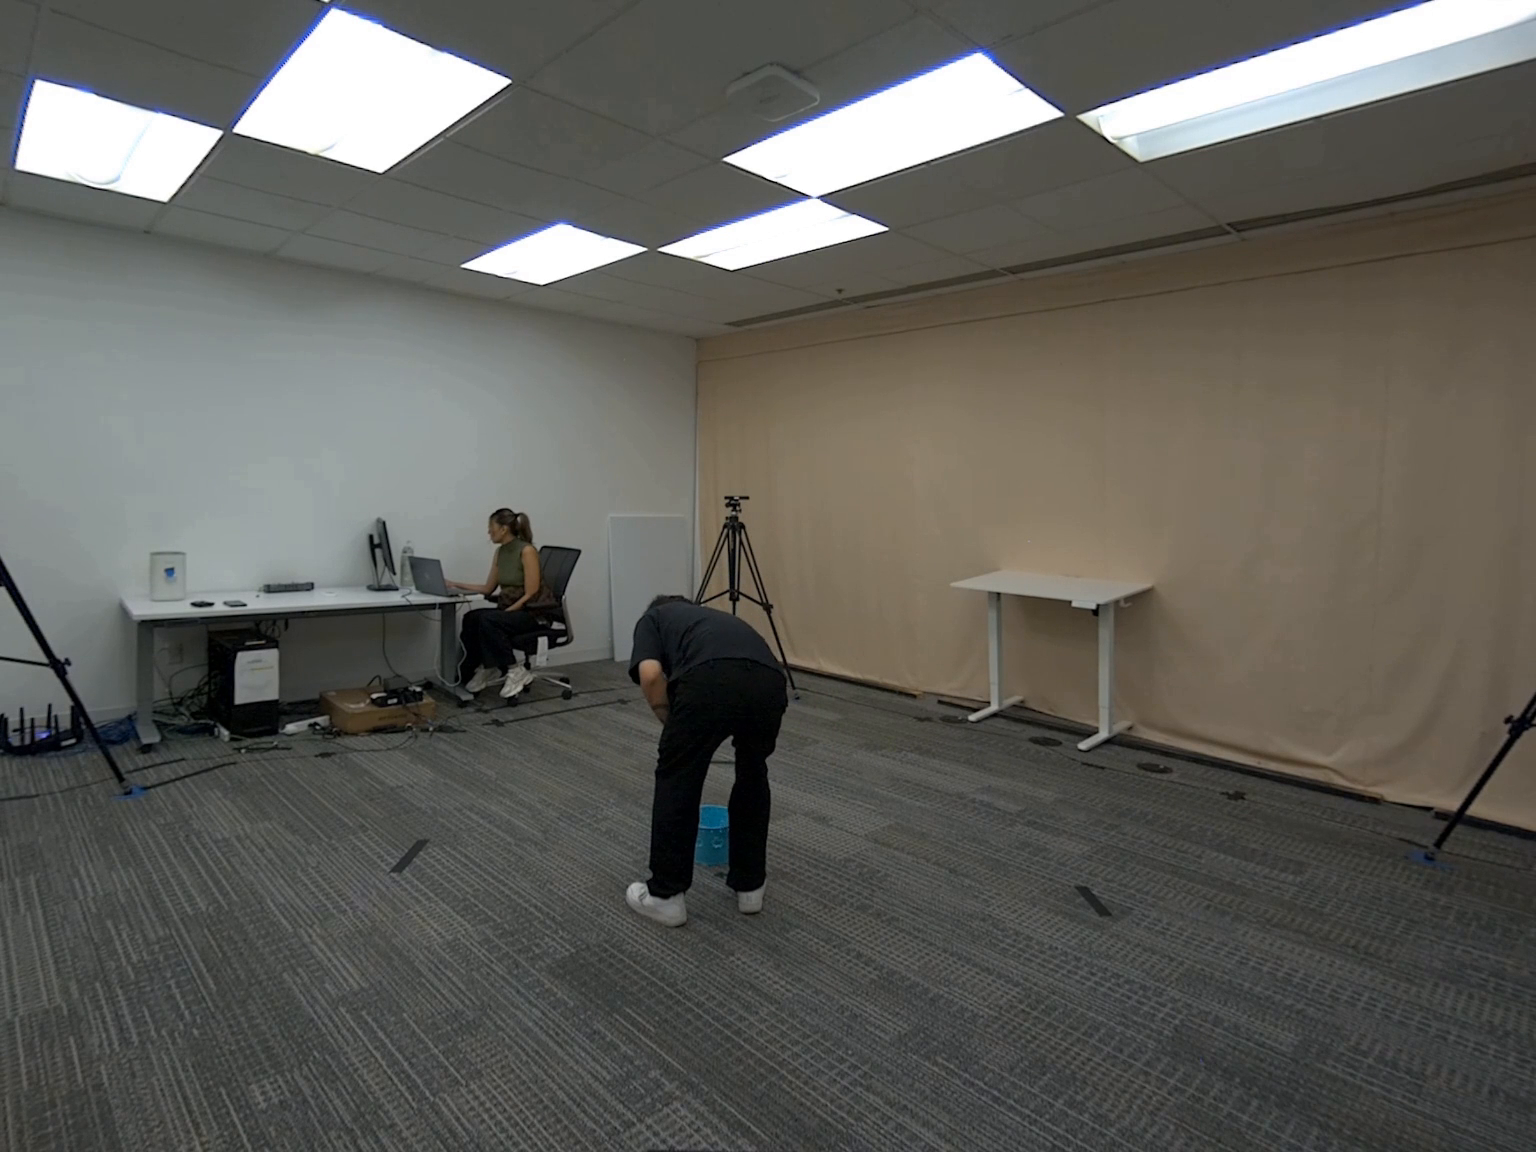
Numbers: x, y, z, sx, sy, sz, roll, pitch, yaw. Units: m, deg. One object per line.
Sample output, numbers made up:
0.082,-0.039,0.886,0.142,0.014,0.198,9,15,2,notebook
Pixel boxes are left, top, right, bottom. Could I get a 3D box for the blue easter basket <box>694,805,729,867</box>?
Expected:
-0.224,1.010,3.279,0.243,0.155,0.244,1,4,-1,blue easter basket
